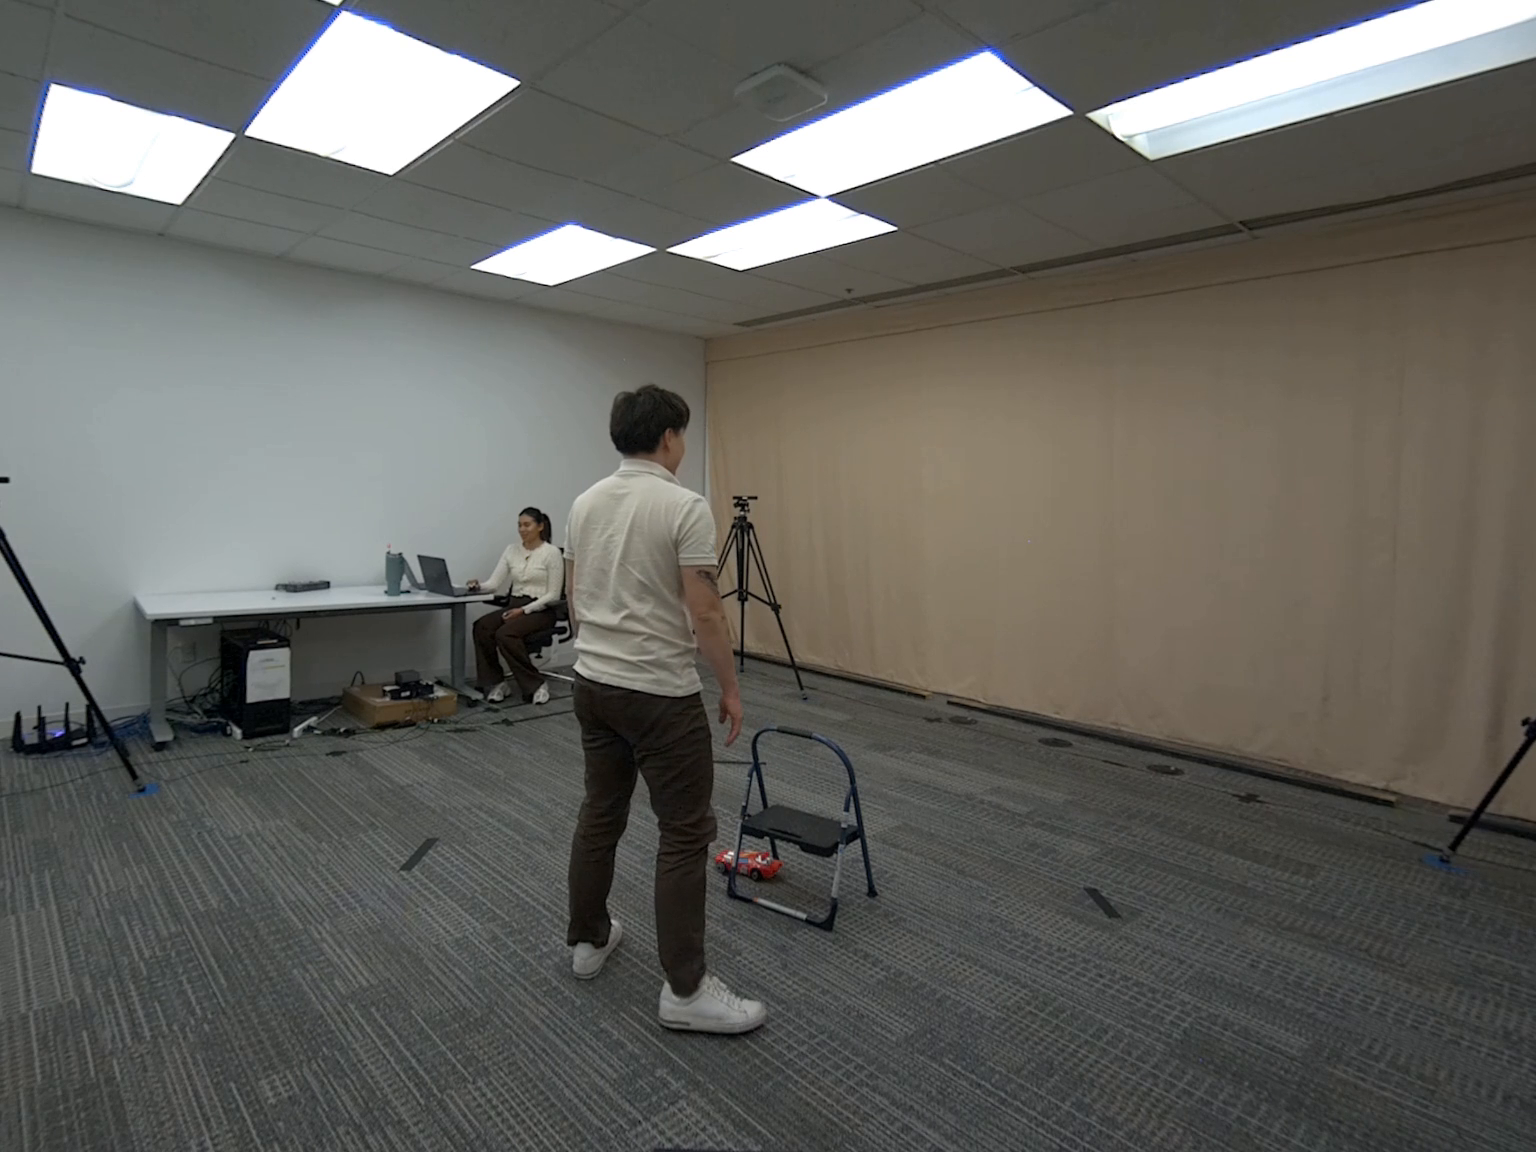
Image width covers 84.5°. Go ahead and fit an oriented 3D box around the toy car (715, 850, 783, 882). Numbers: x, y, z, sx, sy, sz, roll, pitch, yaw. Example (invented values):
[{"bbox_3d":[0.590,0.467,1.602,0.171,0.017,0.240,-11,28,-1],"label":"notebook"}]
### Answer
[{"bbox_3d":[-0.078,1.075,3.122,0.259,0.083,0.128,-8,-1,28],"label":"toy car"}]
